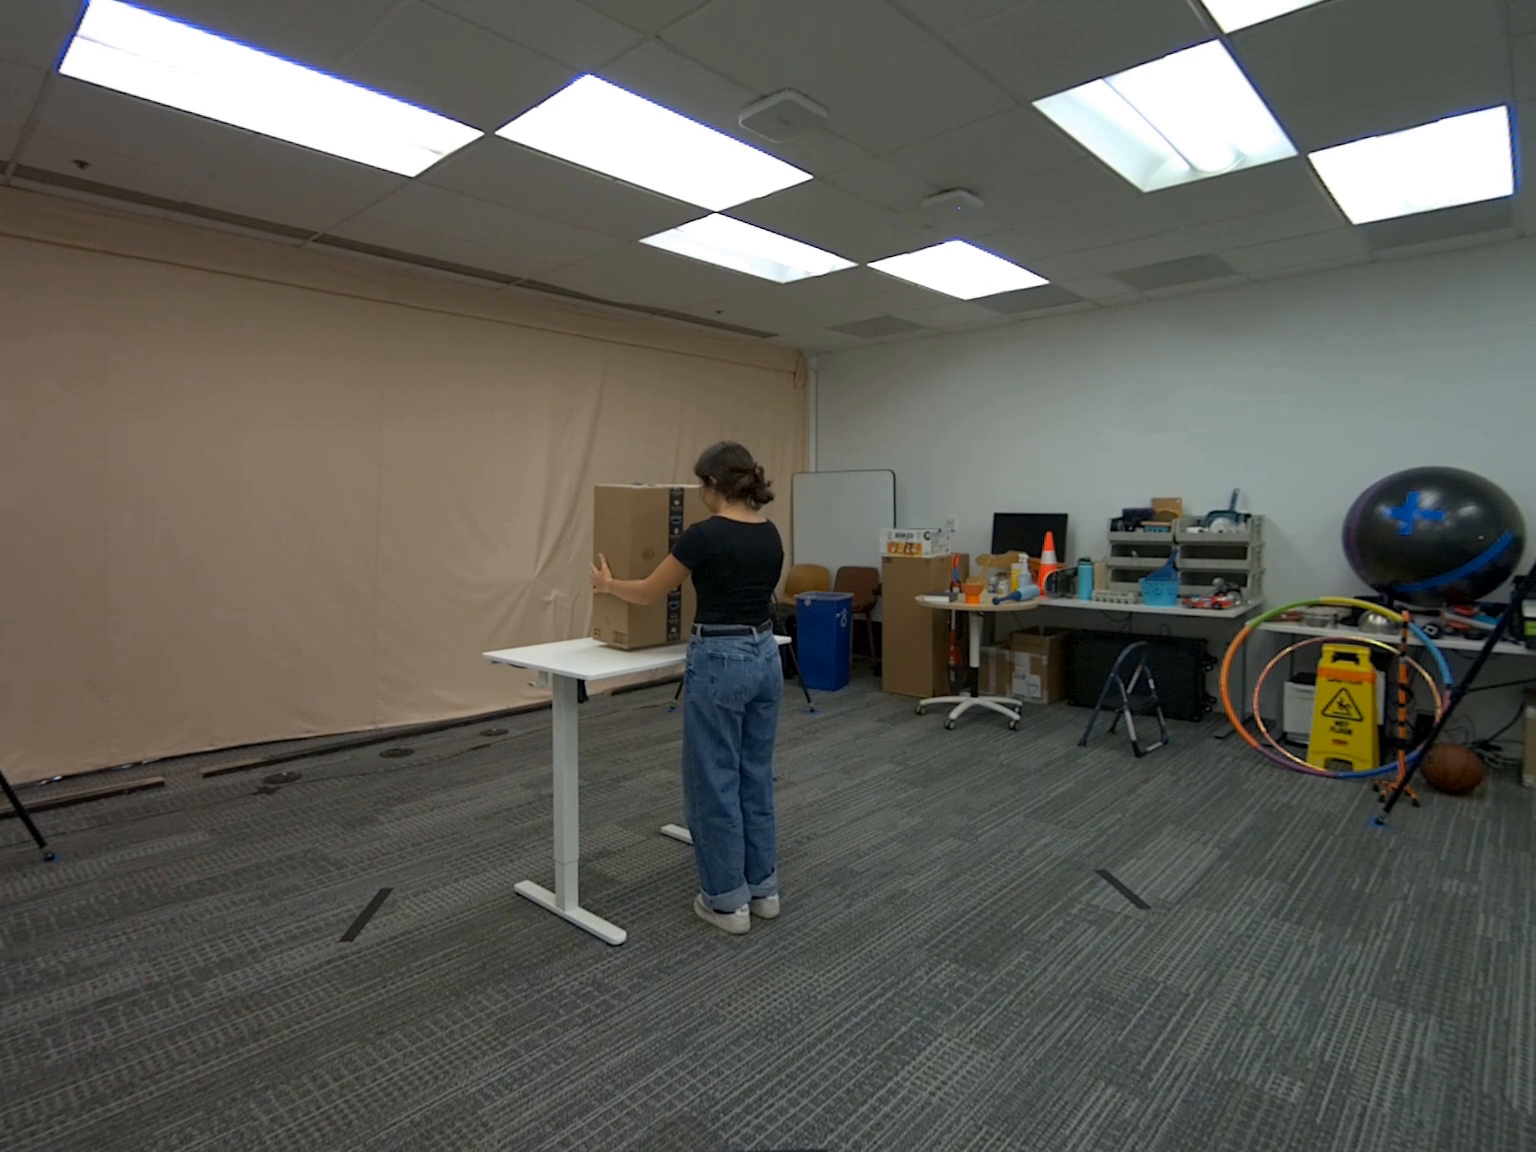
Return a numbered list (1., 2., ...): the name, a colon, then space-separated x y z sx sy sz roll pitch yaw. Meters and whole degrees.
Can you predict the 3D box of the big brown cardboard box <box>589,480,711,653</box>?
1. big brown cardboard box: -0.416 -0.057 3.125 0.405 0.587 0.241 -4 7 -44
